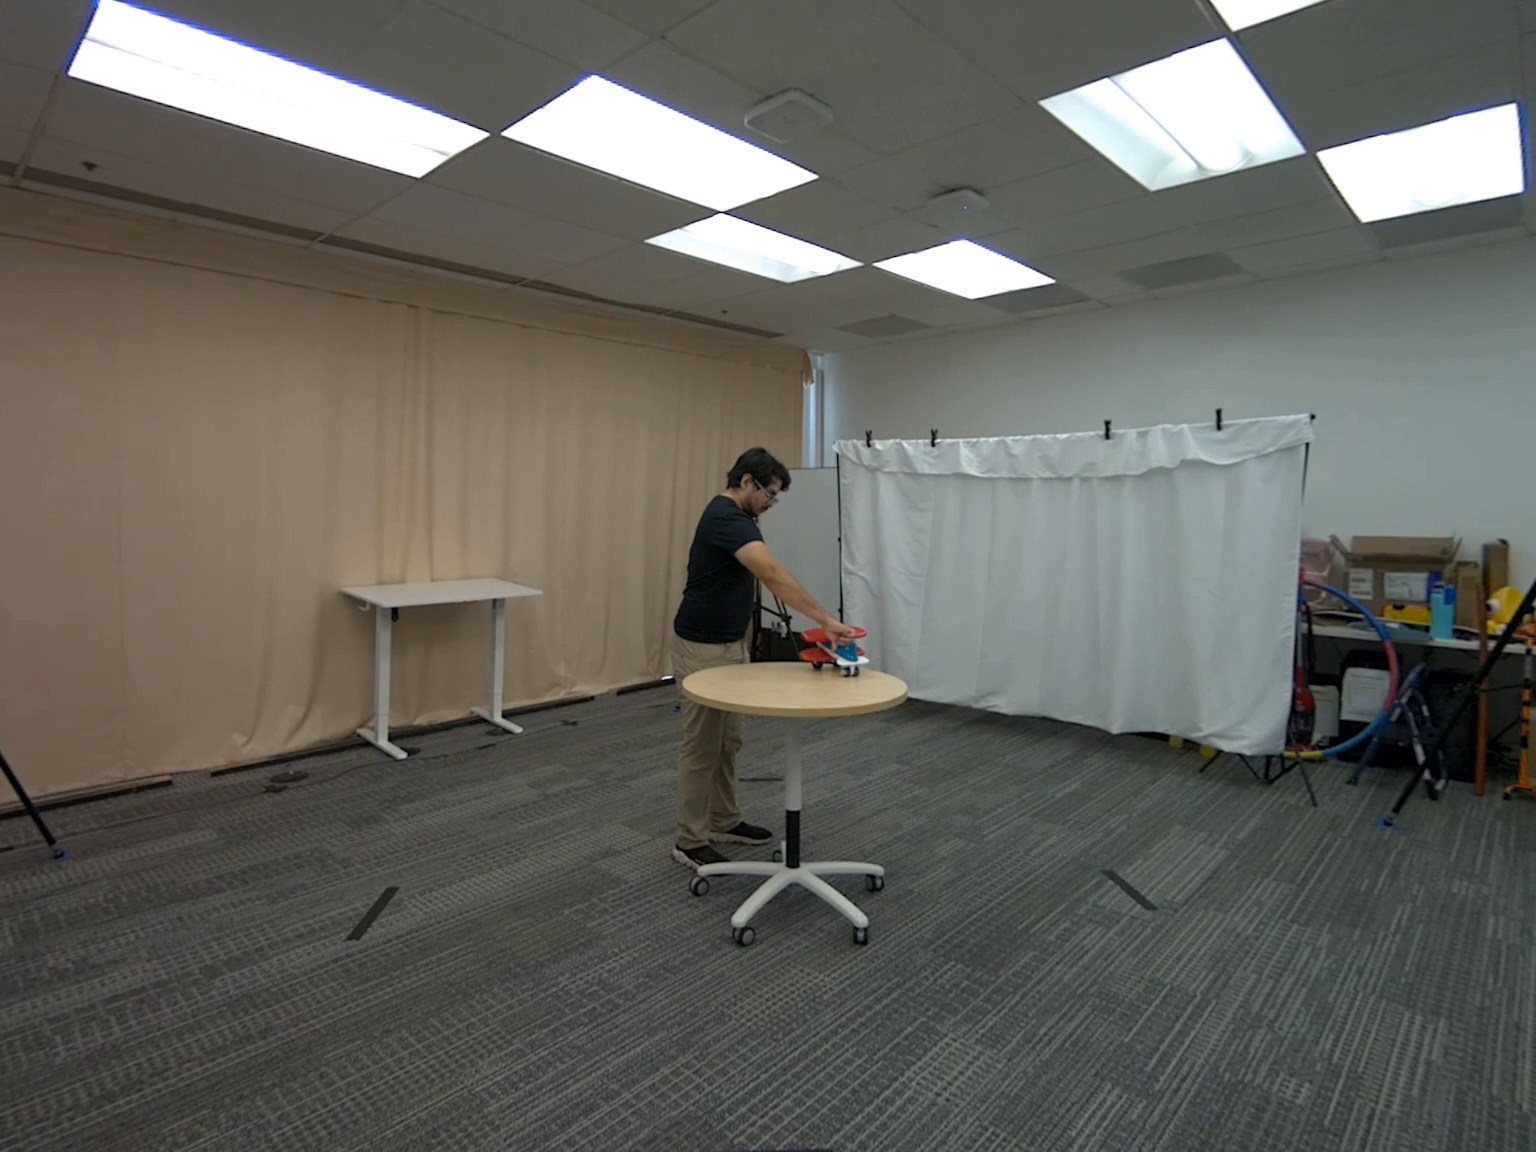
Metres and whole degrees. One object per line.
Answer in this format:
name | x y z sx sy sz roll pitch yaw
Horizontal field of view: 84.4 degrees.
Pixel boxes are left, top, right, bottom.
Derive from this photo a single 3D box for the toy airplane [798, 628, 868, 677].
toy airplane | 0.269 0.275 3.089 0.268 0.156 0.243 3 5 44
